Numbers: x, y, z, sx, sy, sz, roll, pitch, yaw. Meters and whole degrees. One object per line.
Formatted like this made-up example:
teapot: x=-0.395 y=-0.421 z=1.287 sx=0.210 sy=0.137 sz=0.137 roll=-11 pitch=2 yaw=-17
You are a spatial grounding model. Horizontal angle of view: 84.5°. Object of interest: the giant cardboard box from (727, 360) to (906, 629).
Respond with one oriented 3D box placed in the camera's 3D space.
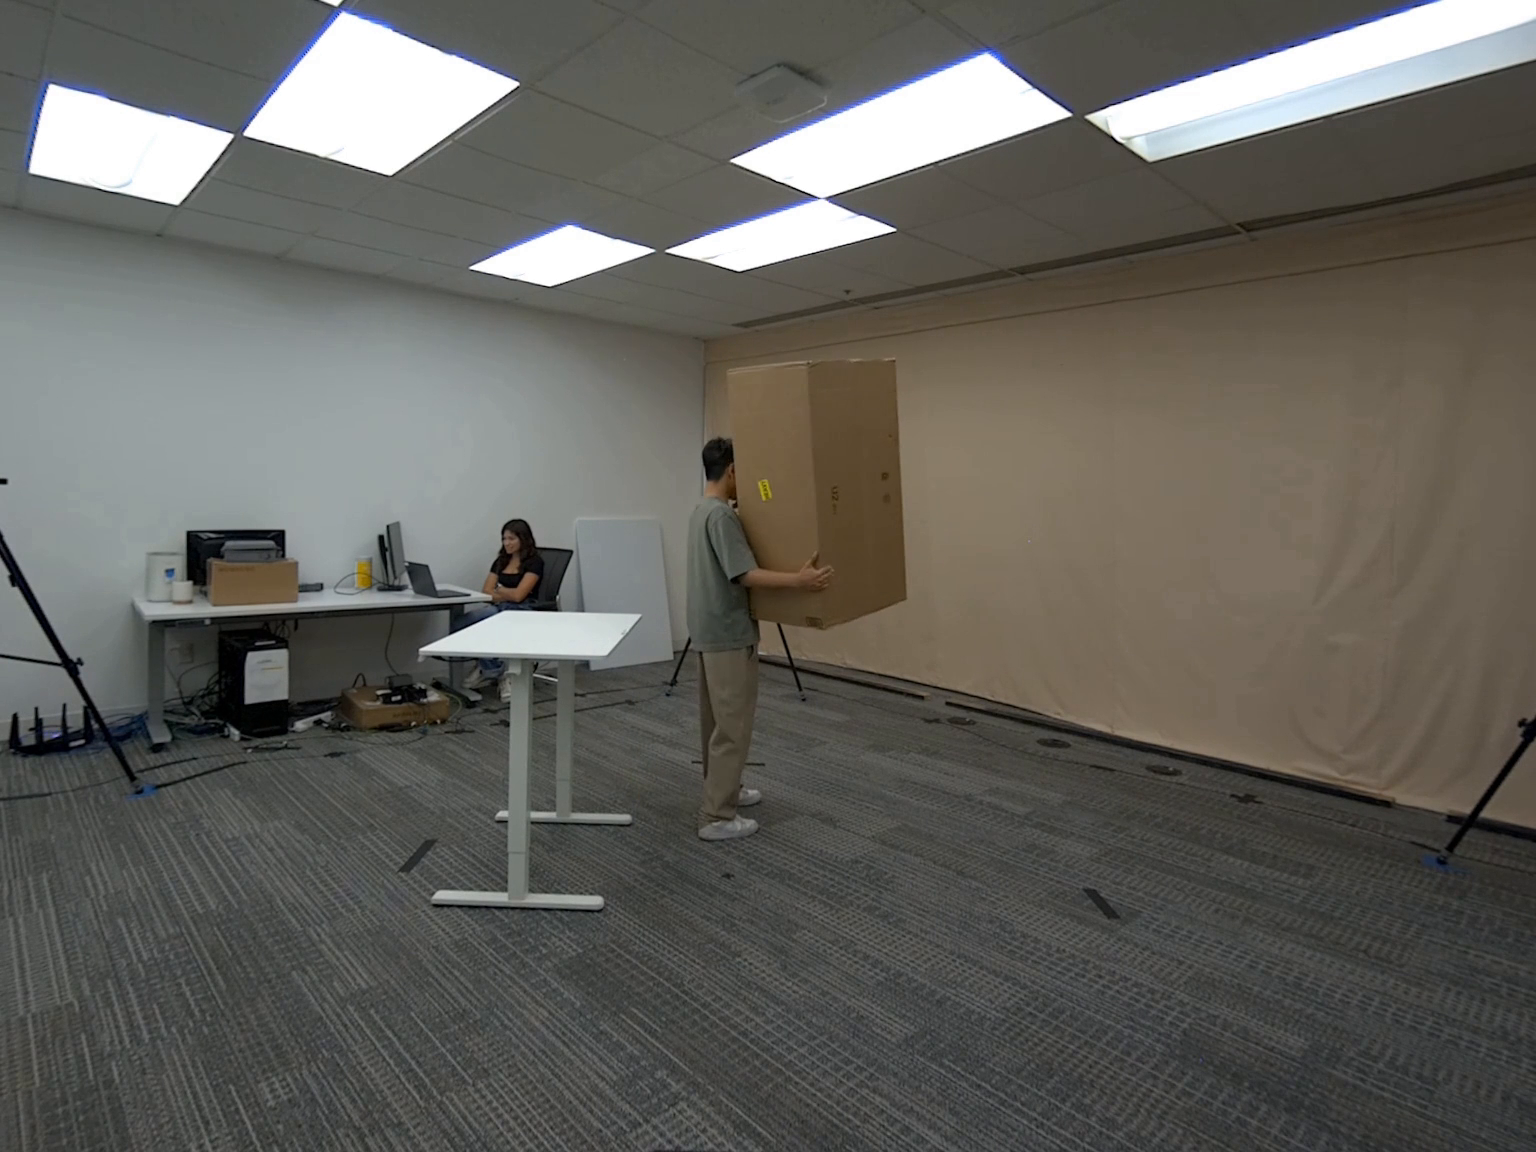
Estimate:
giant cardboard box: x=0.206 y=-0.359 z=3.491 sx=0.437 sy=1.018 sz=0.567 roll=4 pitch=13 yaw=43
